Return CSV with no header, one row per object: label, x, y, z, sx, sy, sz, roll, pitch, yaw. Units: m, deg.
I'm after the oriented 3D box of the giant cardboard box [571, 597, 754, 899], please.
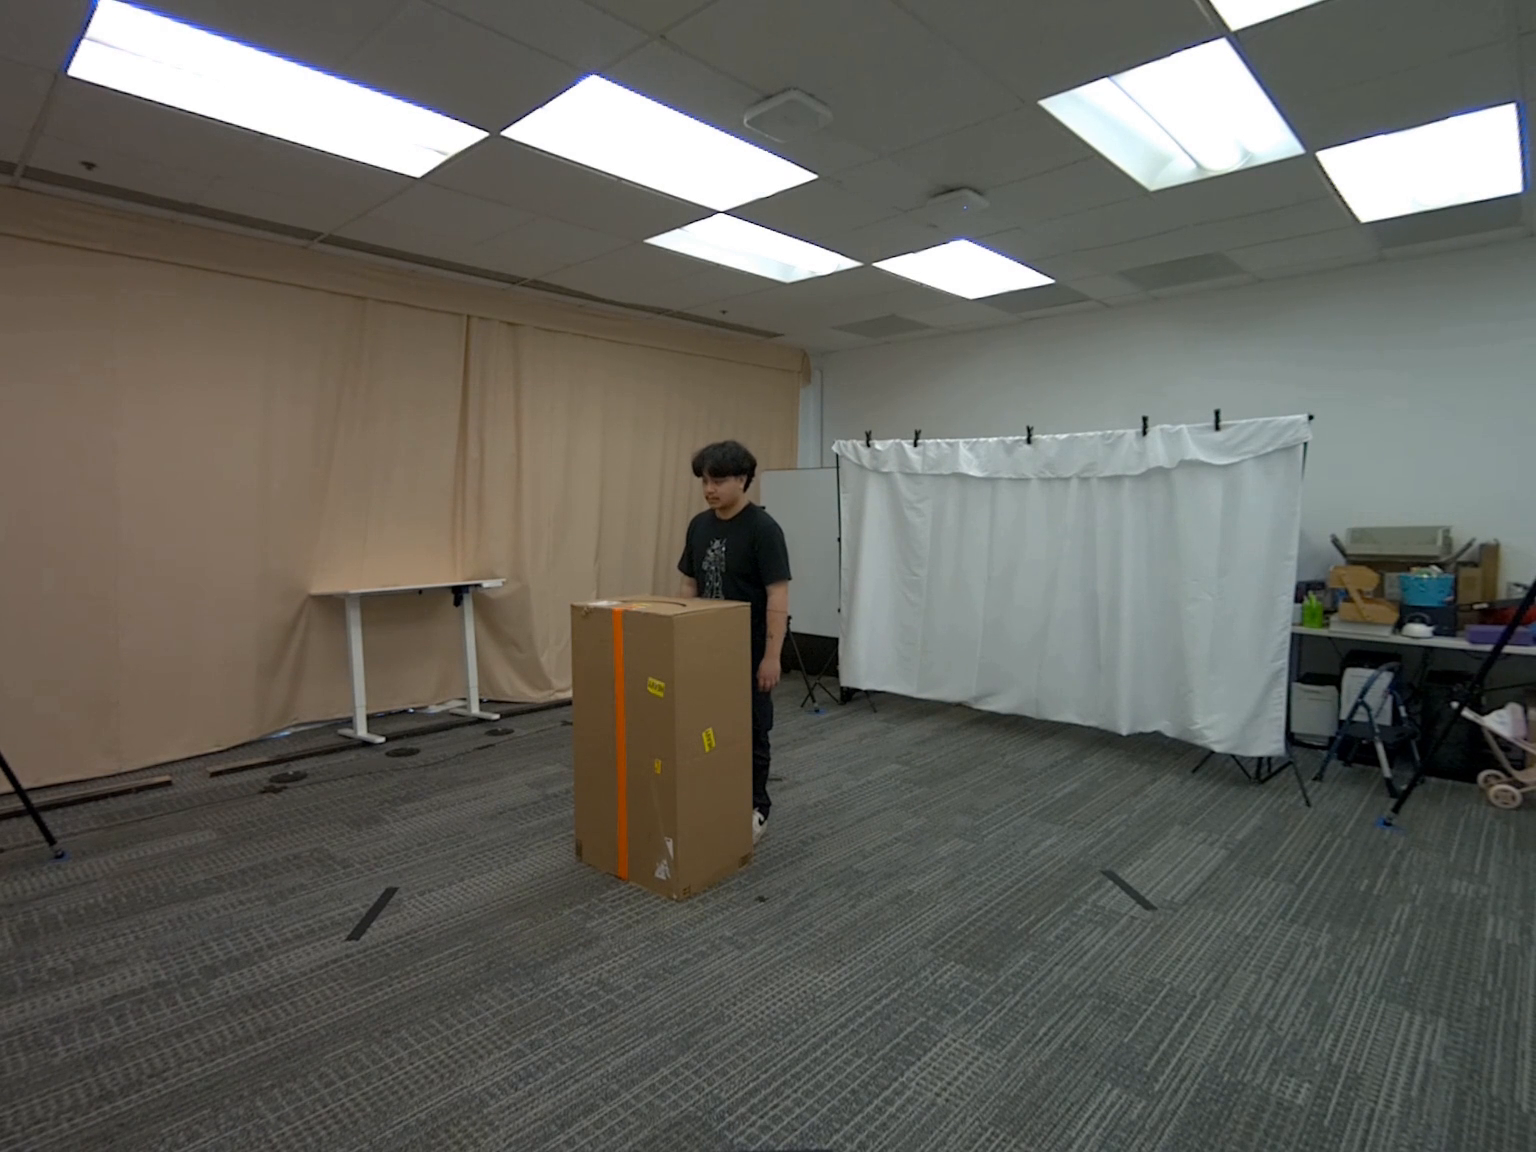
giant cardboard box,-0.418,0.613,3.279,0.603,1.025,0.433,2,5,41
